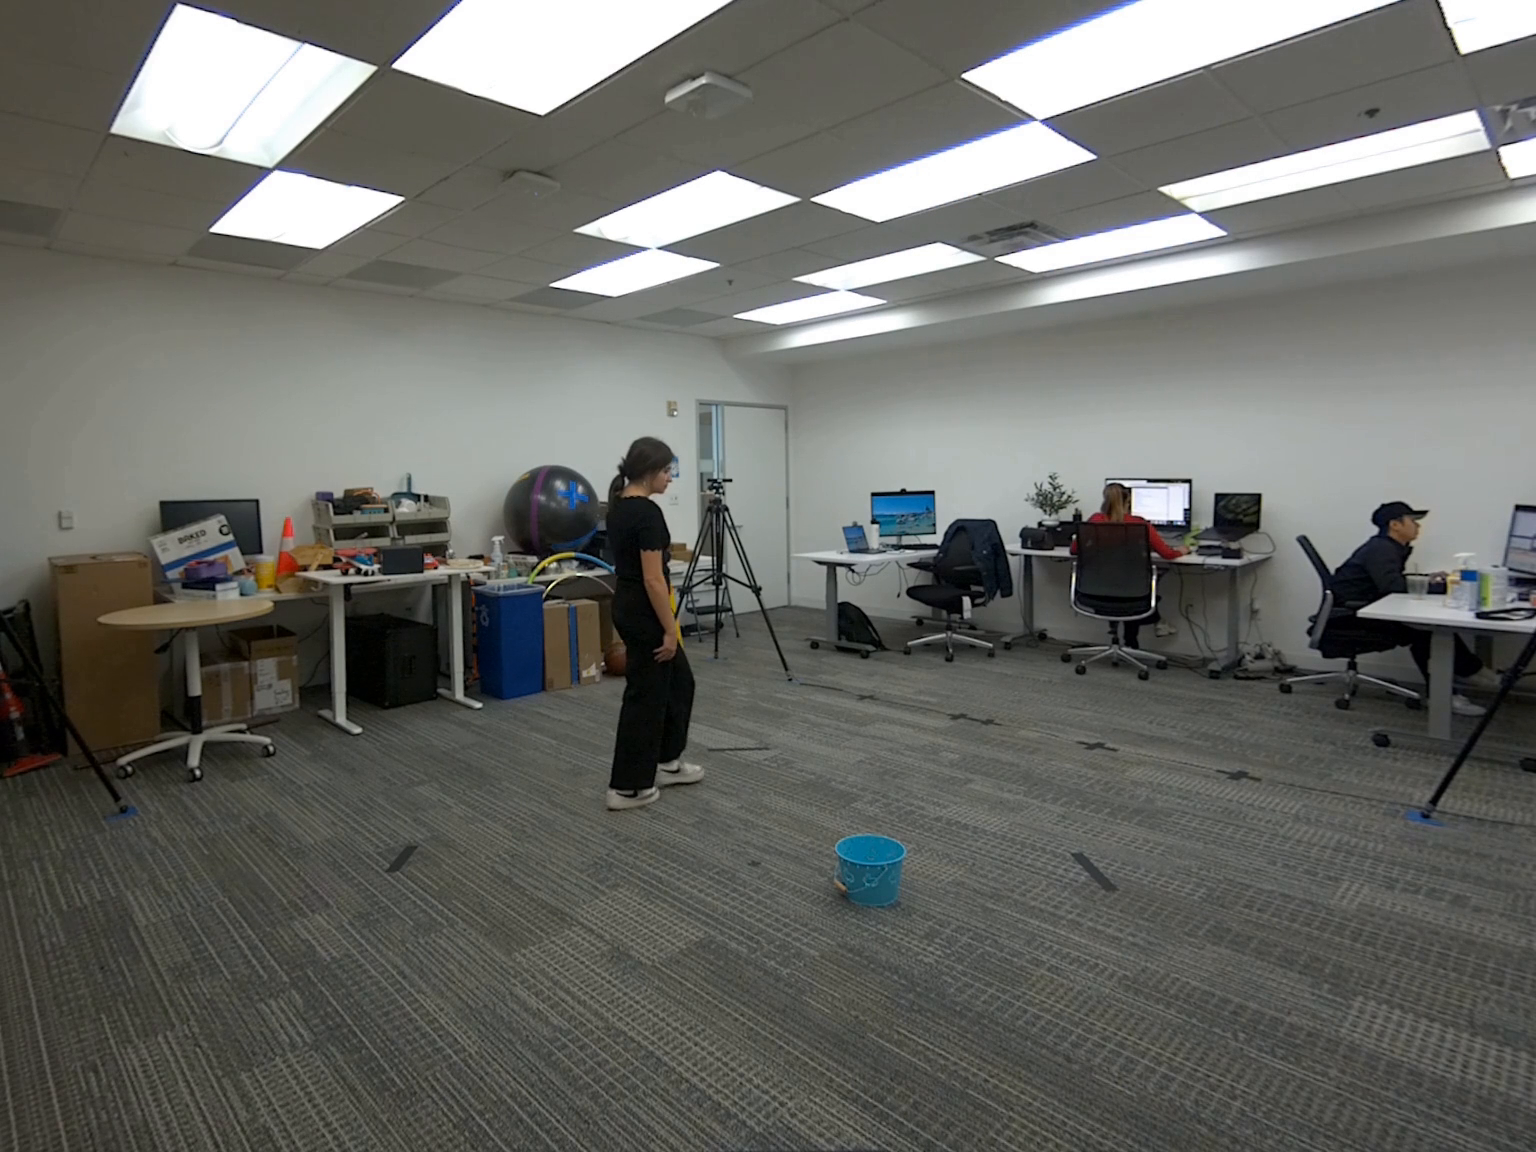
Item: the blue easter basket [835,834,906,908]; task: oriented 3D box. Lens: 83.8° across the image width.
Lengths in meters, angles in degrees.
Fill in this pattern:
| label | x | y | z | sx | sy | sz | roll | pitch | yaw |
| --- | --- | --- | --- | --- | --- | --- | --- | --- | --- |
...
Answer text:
| label | x | y | z | sx | sy | sz | roll | pitch | yaw |
| --- | --- | --- | --- | --- | --- | --- | --- | --- | --- |
| blue easter basket | 0.340 | 0.985 | 2.860 | 0.243 | 0.155 | 0.245 | -1 | 6 | -2 |
